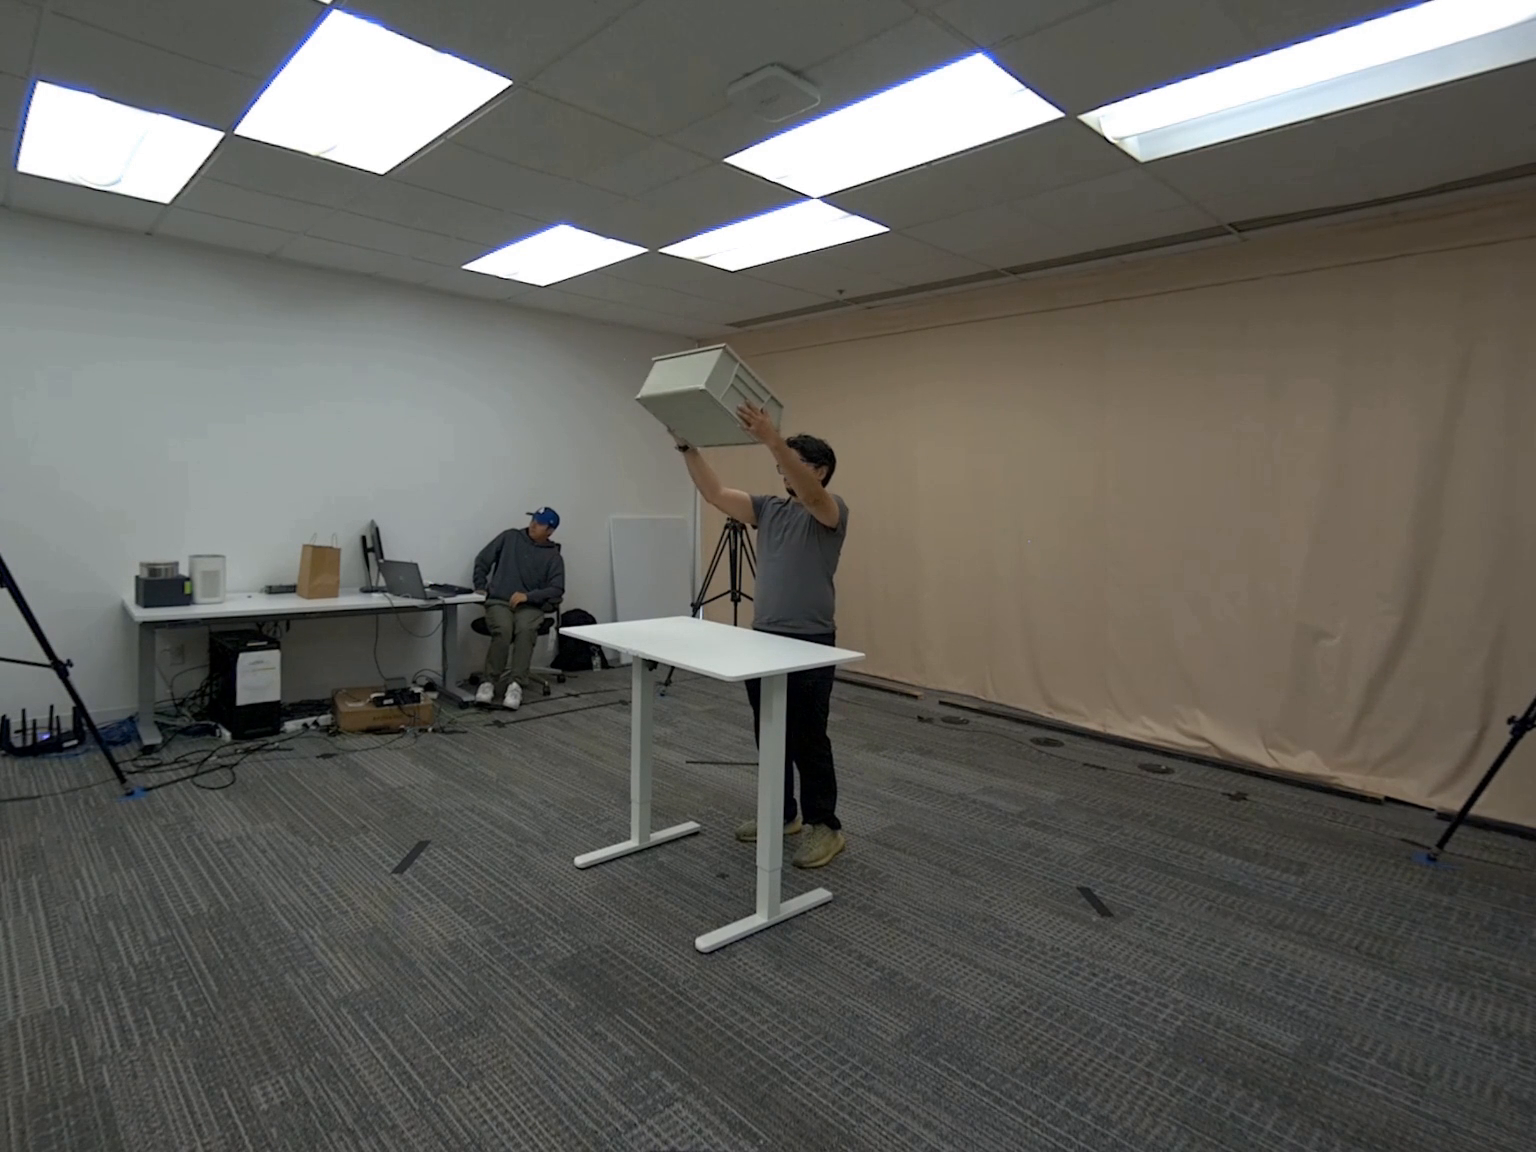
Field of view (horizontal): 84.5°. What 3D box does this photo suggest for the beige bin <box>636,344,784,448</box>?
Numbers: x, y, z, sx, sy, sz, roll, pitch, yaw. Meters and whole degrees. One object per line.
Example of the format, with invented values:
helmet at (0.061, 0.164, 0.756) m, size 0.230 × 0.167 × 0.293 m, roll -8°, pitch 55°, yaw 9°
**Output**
beige bin at (-0.216, -0.618, 3.041) m, size 0.433 × 0.190 × 0.366 m, roll 7°, pitch -24°, yaw 48°
